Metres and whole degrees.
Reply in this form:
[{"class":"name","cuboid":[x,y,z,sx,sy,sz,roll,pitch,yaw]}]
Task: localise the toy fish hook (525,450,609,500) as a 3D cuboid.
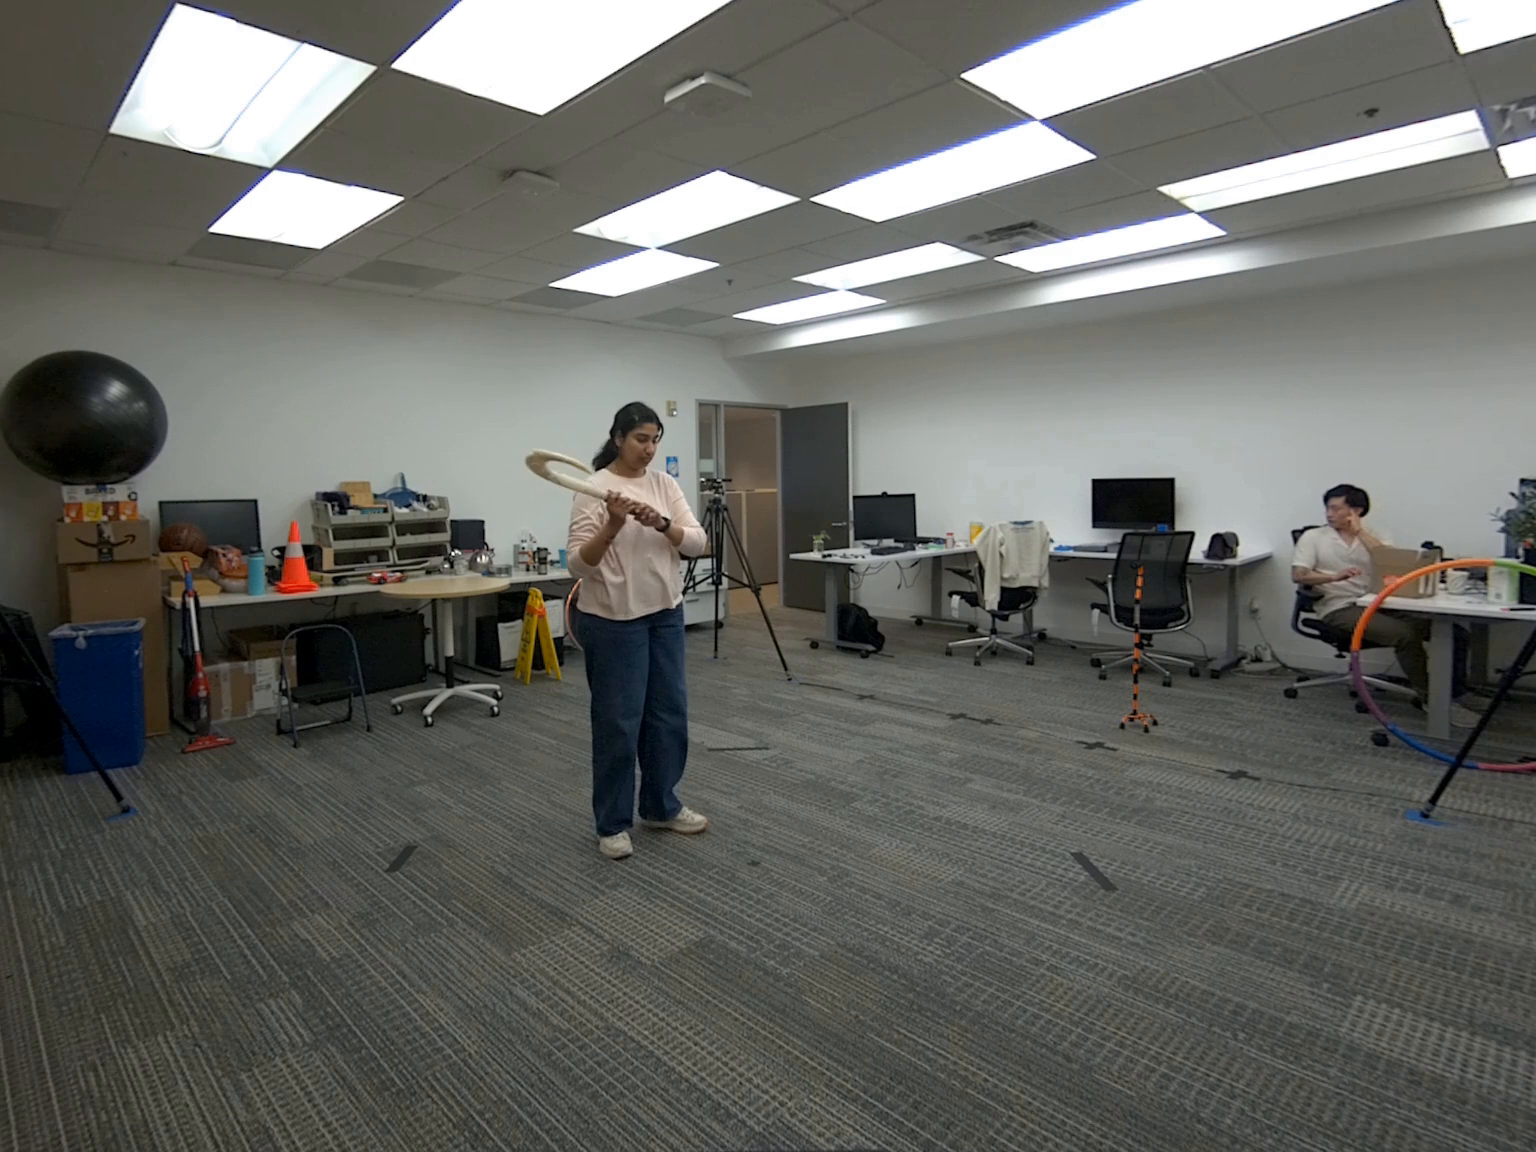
[{"class":"toy fish hook","cuboid":[-0.565,-0.297,2.900,0.491,0.049,0.229,27,-19,-28]}]
